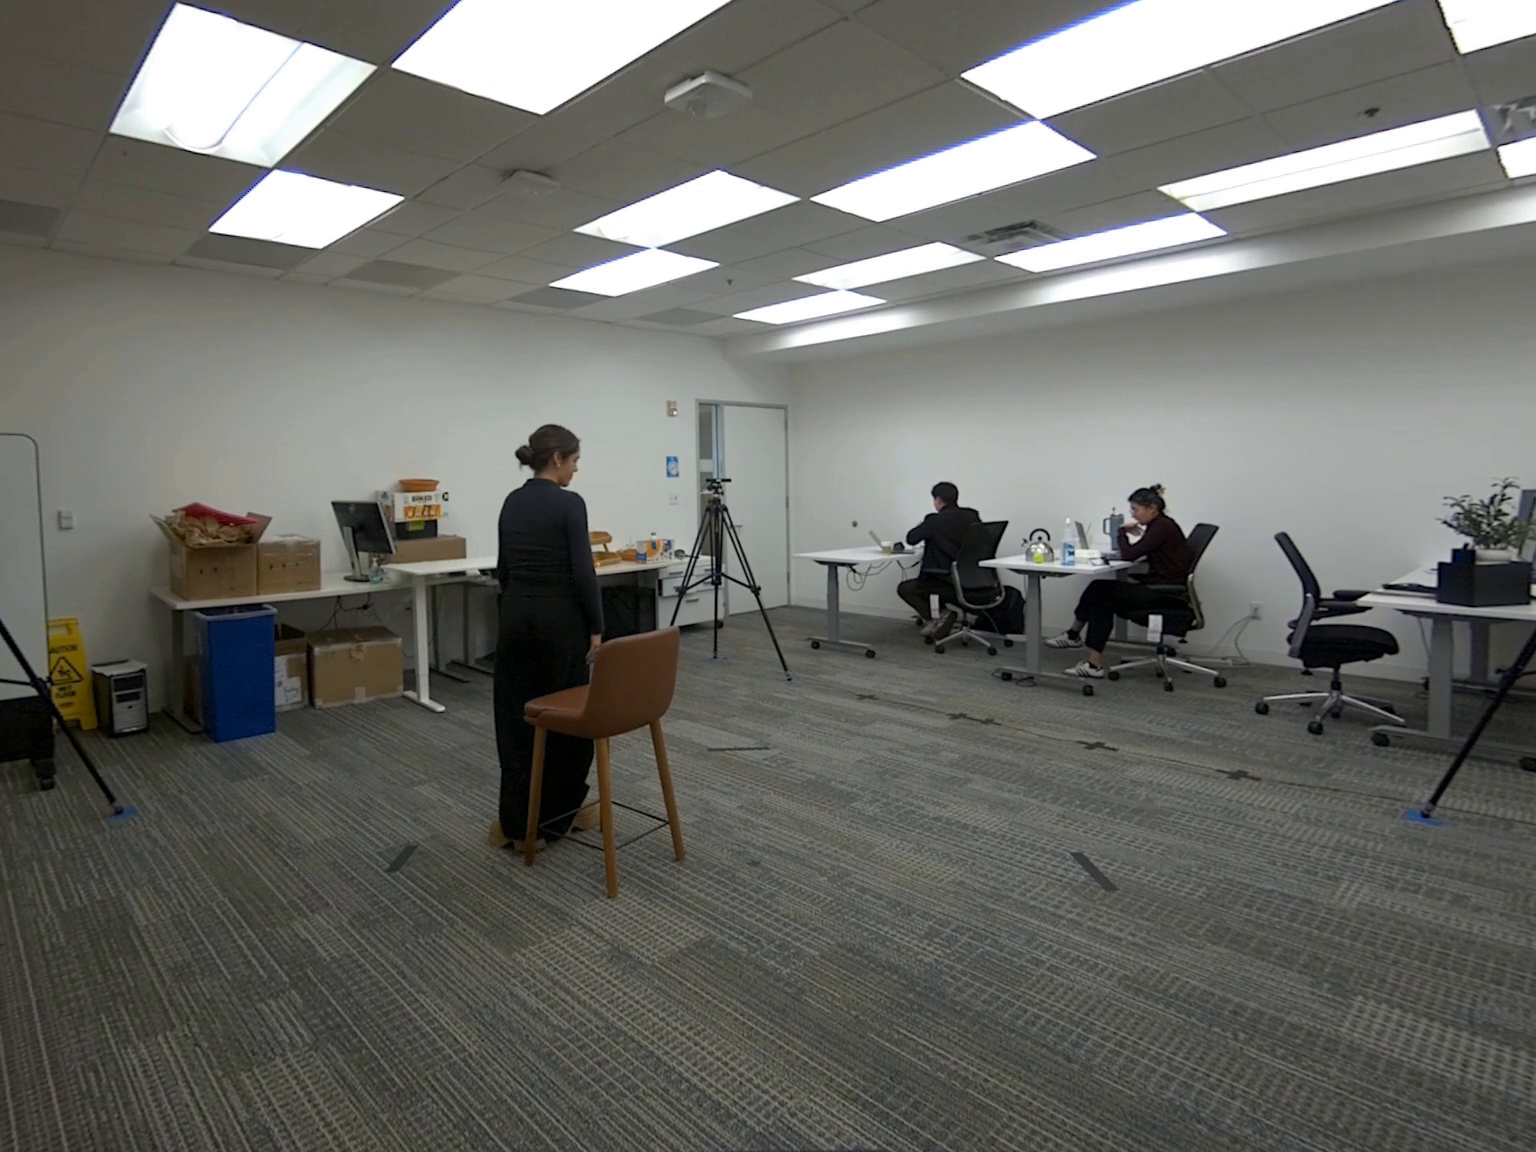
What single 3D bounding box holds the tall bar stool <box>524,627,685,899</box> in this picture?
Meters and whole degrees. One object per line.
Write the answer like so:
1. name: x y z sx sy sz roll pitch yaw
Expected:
1. tall bar stool: -0.599 0.618 3.112 0.481 0.886 0.445 3 6 37
